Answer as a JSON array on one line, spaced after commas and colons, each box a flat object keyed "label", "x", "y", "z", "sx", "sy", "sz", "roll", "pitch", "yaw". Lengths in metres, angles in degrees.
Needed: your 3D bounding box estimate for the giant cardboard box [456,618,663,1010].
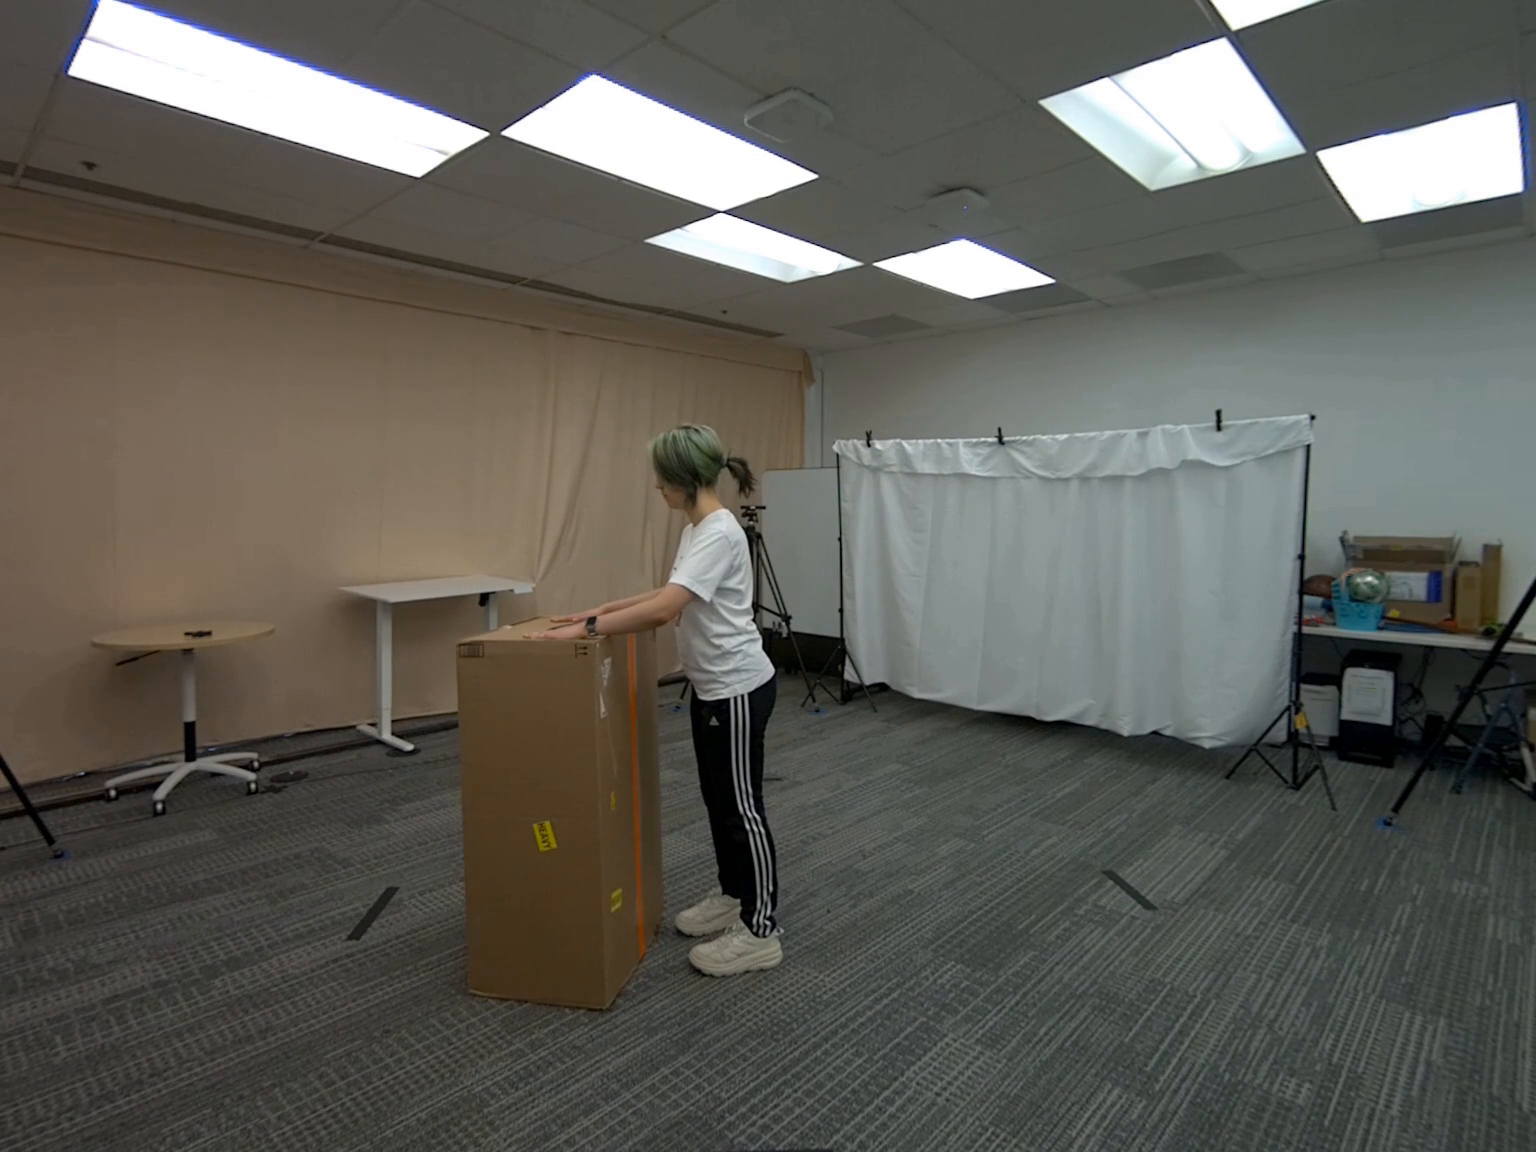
[{"label": "giant cardboard box", "x": -0.618, "y": 0.675, "z": 2.612, "sx": 0.452, "sy": 1.026, "sz": 0.577, "roll": -2, "pitch": 2, "yaw": 10}]
